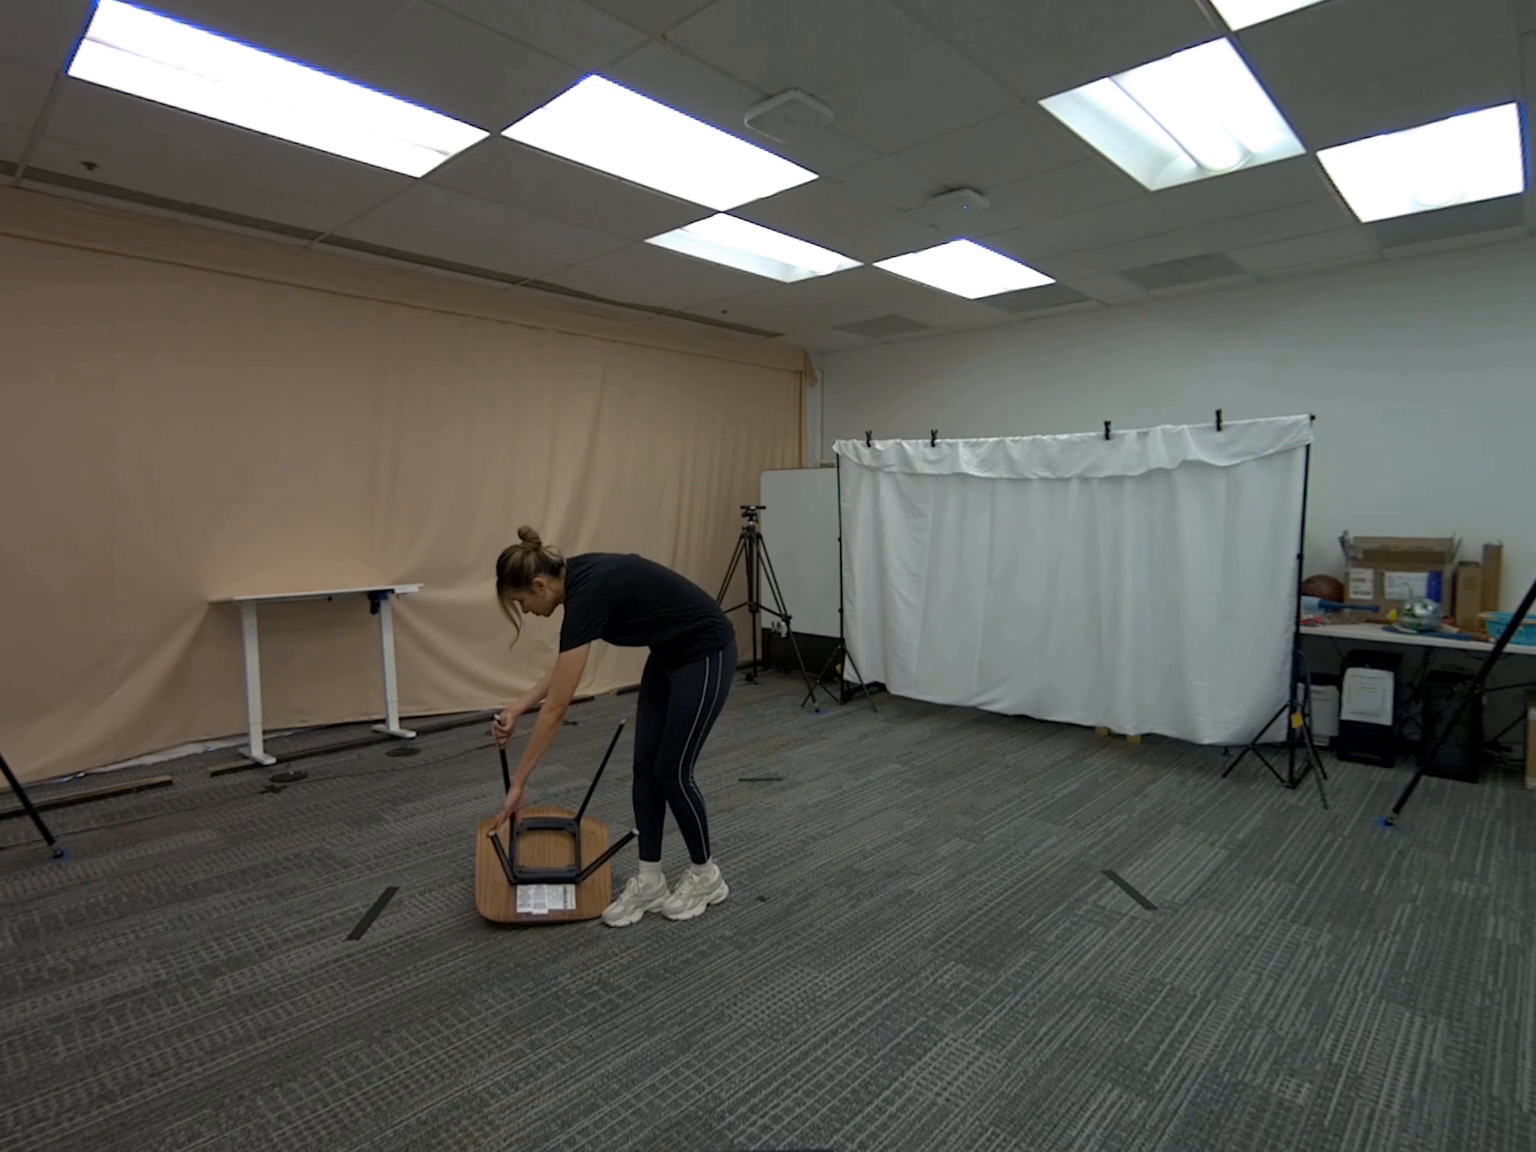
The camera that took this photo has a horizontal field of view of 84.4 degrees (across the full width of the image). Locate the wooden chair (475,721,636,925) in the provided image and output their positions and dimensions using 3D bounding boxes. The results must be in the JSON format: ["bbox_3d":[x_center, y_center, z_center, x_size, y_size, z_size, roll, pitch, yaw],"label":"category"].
[{"bbox_3d":[-0.785,0.967,2.966,0.469,0.872,0.537,5,42,-19],"label":"wooden chair"}]
